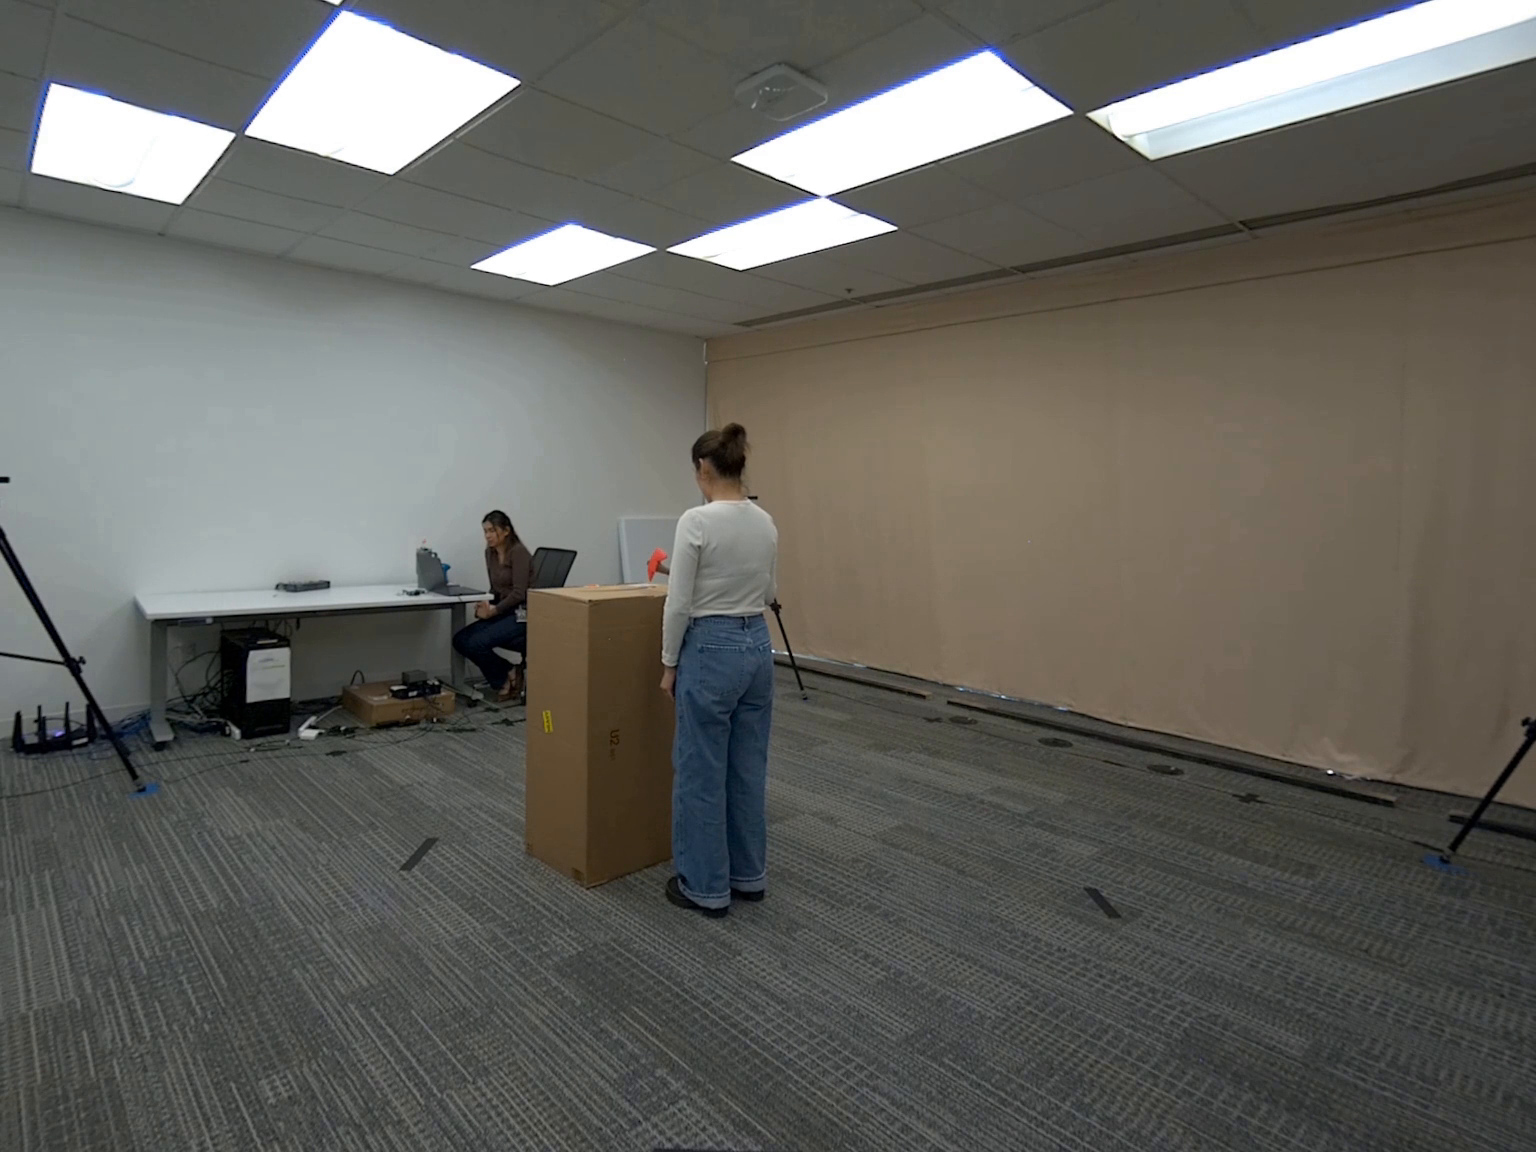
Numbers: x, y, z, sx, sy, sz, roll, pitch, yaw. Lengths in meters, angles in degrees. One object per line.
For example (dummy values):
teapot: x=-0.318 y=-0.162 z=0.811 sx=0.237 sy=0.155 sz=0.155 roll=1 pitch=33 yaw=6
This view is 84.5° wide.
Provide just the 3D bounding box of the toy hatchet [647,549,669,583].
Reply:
toy hatchet: x=-0.370 y=-0.038 z=3.238 sx=0.276 sy=0.131 sz=0.029 roll=1 pitch=-1 yaw=32
